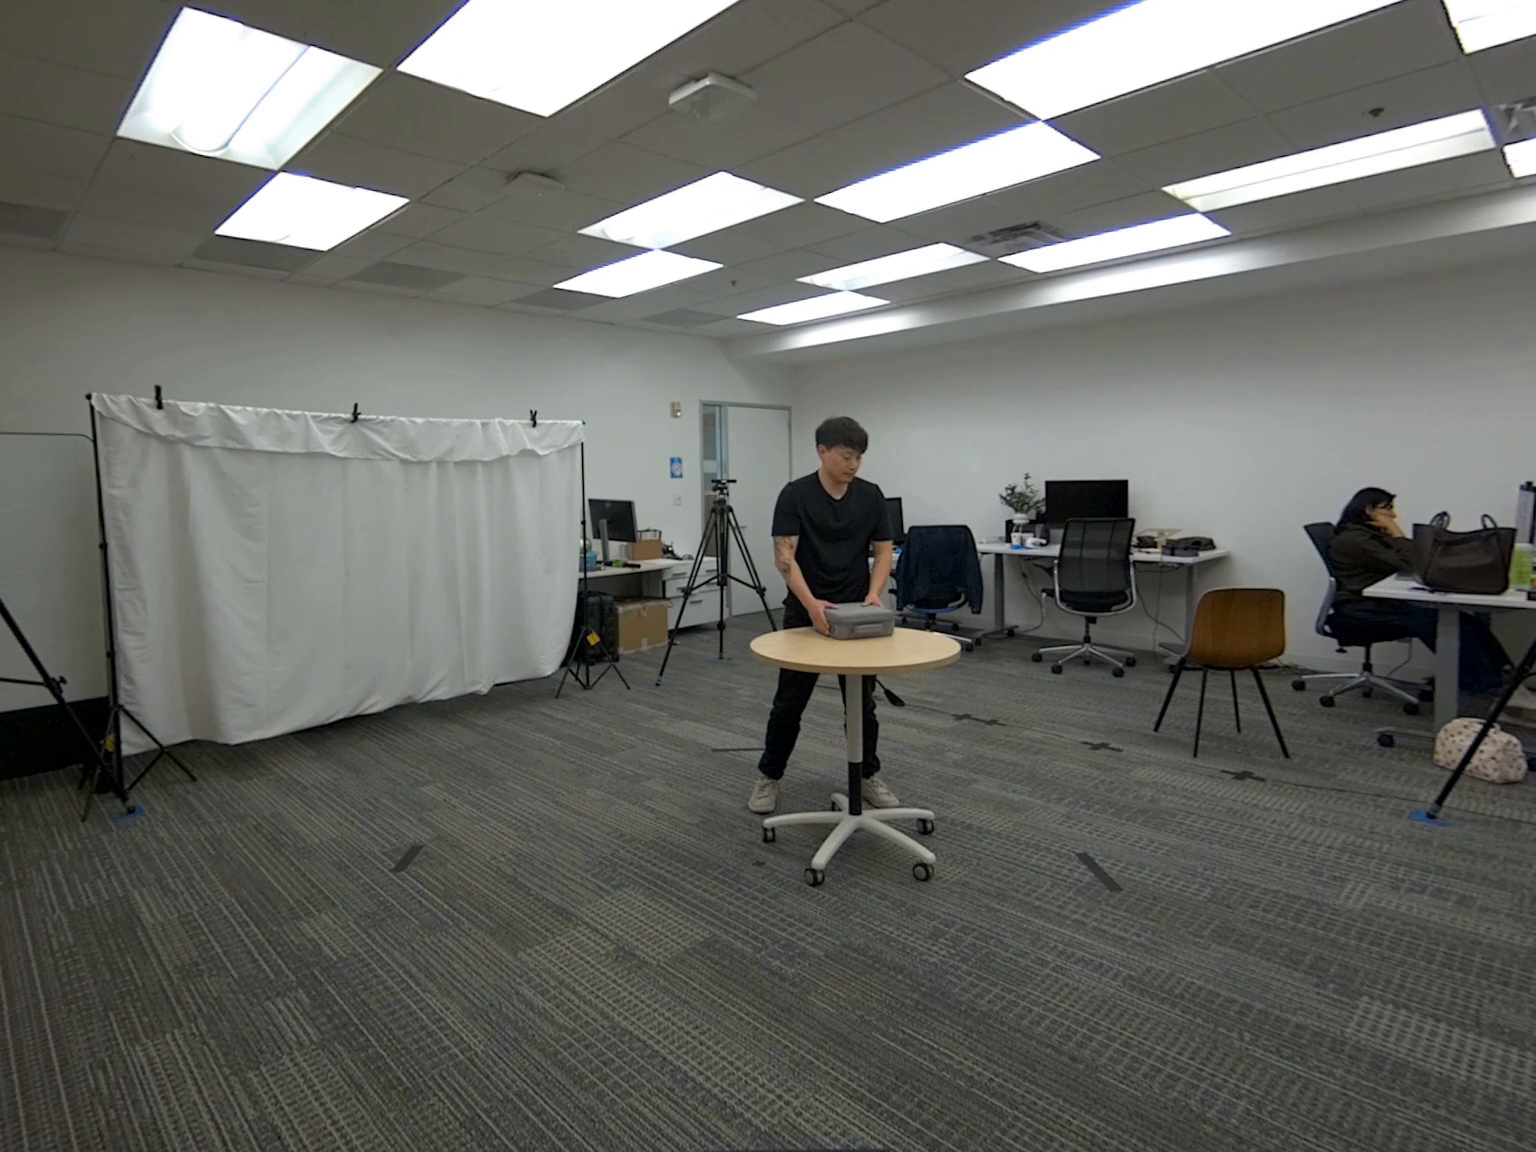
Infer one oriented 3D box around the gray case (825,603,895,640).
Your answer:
[{"bbox_3d":[0.327,0.177,3.354,0.253,0.104,0.266,-2,6,-18],"label":"gray case"}]
